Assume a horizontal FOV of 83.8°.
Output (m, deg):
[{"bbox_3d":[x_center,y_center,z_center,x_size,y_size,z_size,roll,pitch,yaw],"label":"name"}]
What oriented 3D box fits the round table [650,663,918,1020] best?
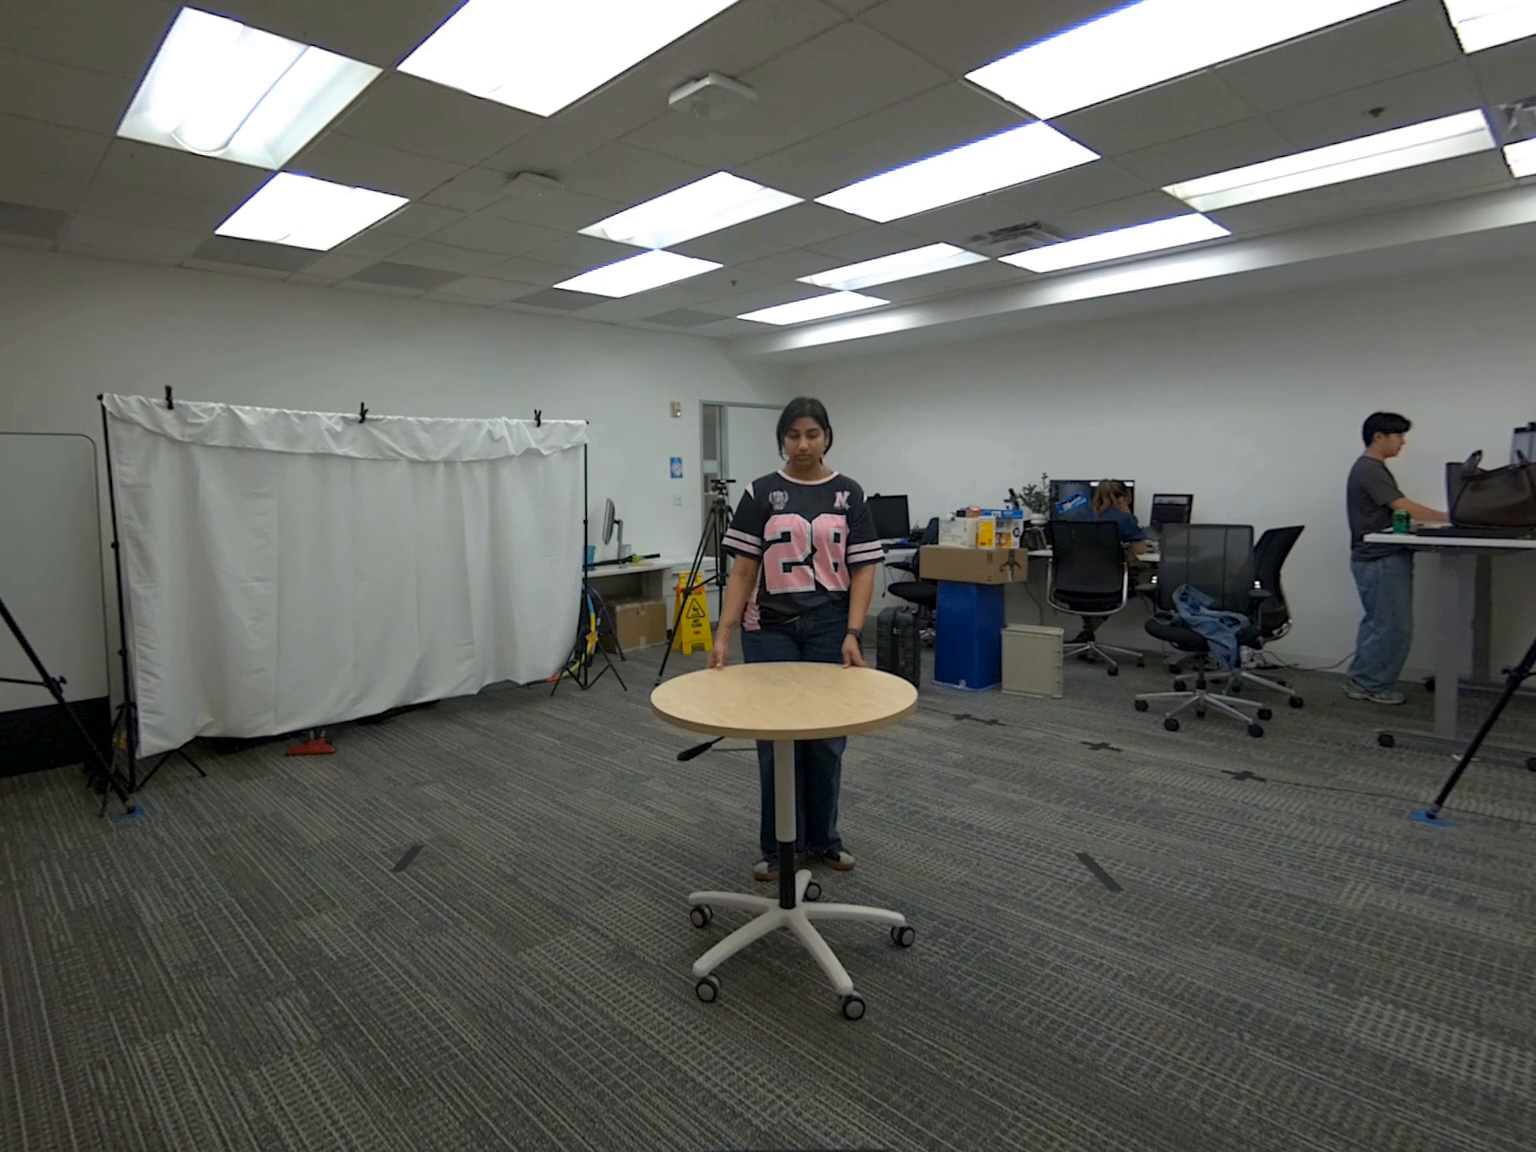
[{"bbox_3d":[0.065,0.726,2.513,0.785,0.783,0.789,-2,6,-1],"label":"round table"}]
